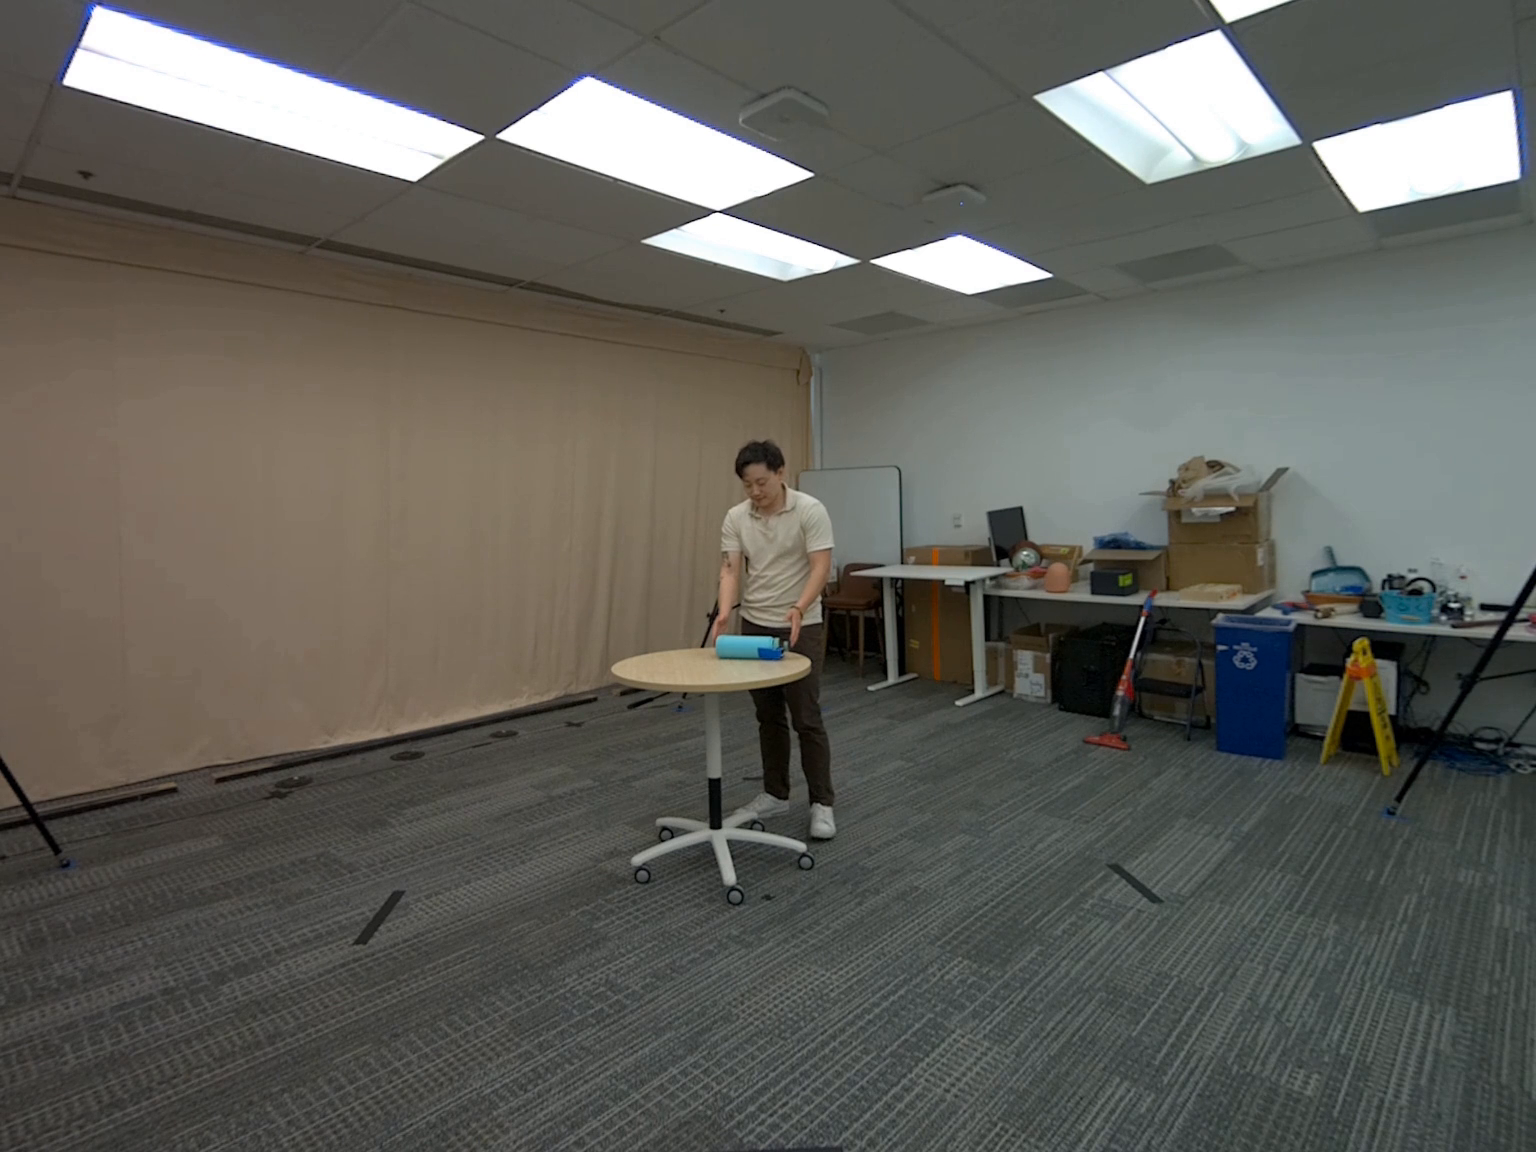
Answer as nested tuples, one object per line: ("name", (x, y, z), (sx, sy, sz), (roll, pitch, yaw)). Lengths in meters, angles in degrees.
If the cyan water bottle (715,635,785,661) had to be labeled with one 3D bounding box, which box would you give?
("cyan water bottle", (-0.065, 0.282, 3.324), (0.289, 0.092, 0.091), (1, 4, 18))
